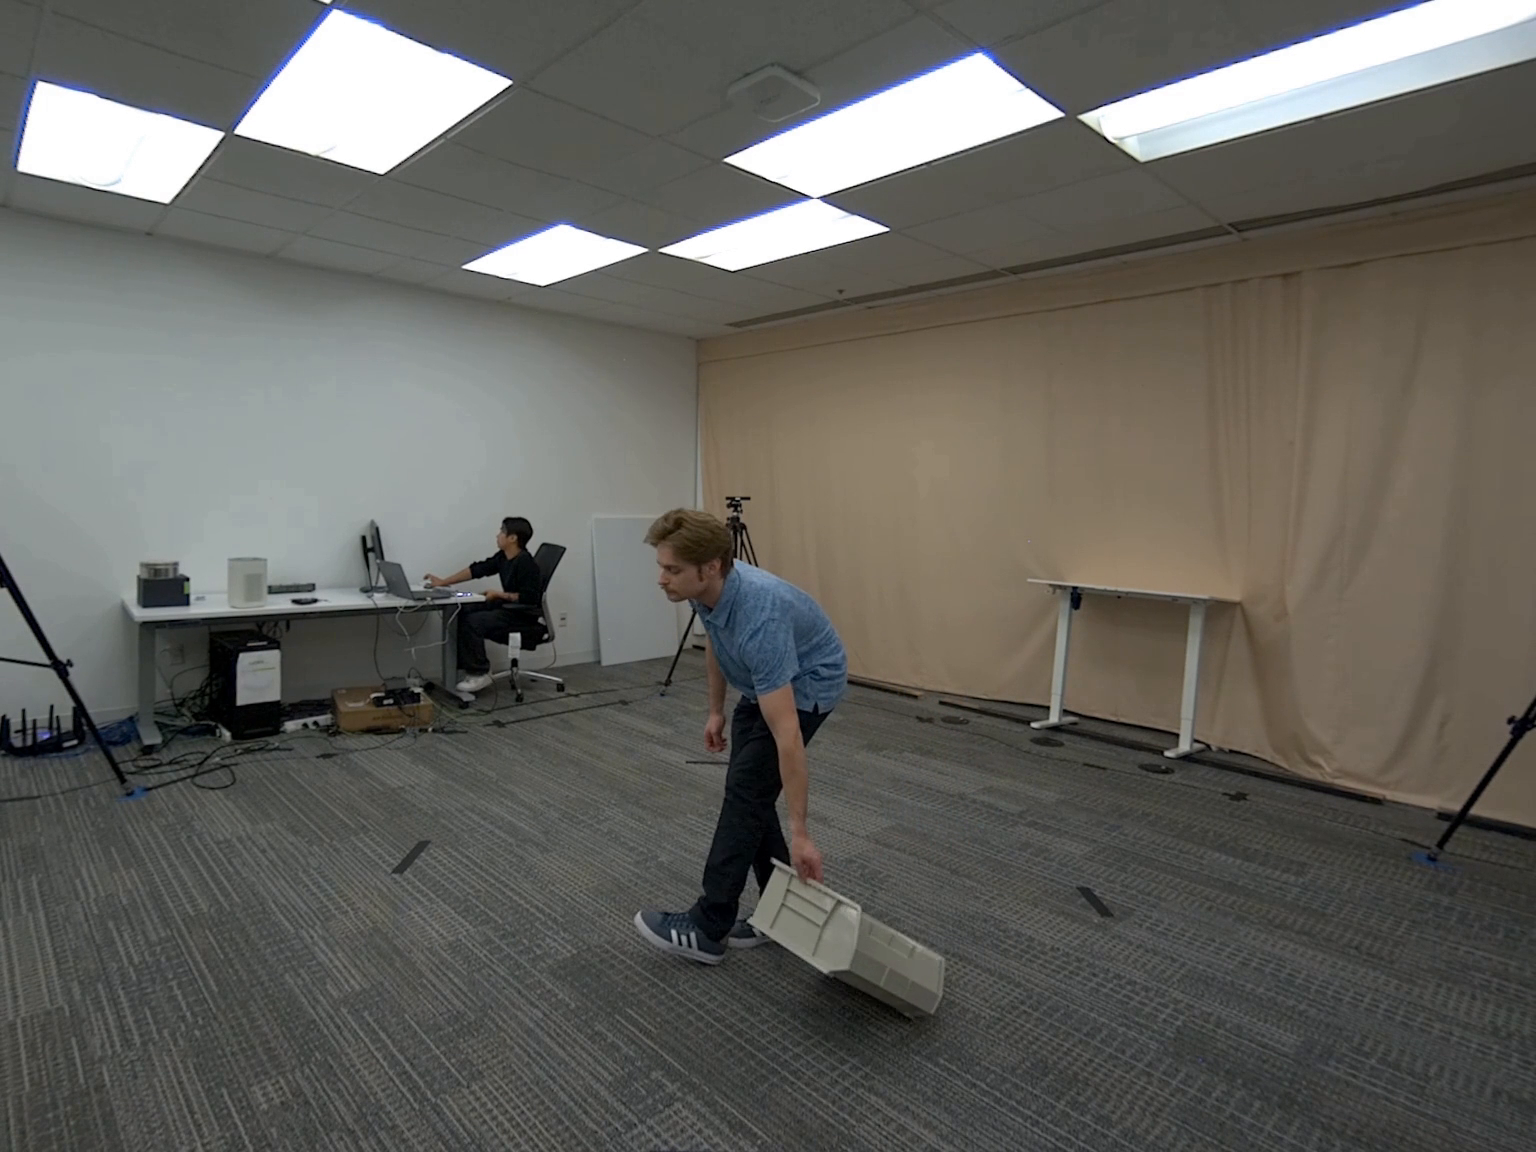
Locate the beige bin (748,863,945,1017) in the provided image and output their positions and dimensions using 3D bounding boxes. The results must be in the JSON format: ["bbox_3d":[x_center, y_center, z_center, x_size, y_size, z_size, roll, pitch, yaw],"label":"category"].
[{"bbox_3d":[0.217,0.999,2.294,0.410,0.190,0.387,40,-21,-34],"label":"beige bin"}]
